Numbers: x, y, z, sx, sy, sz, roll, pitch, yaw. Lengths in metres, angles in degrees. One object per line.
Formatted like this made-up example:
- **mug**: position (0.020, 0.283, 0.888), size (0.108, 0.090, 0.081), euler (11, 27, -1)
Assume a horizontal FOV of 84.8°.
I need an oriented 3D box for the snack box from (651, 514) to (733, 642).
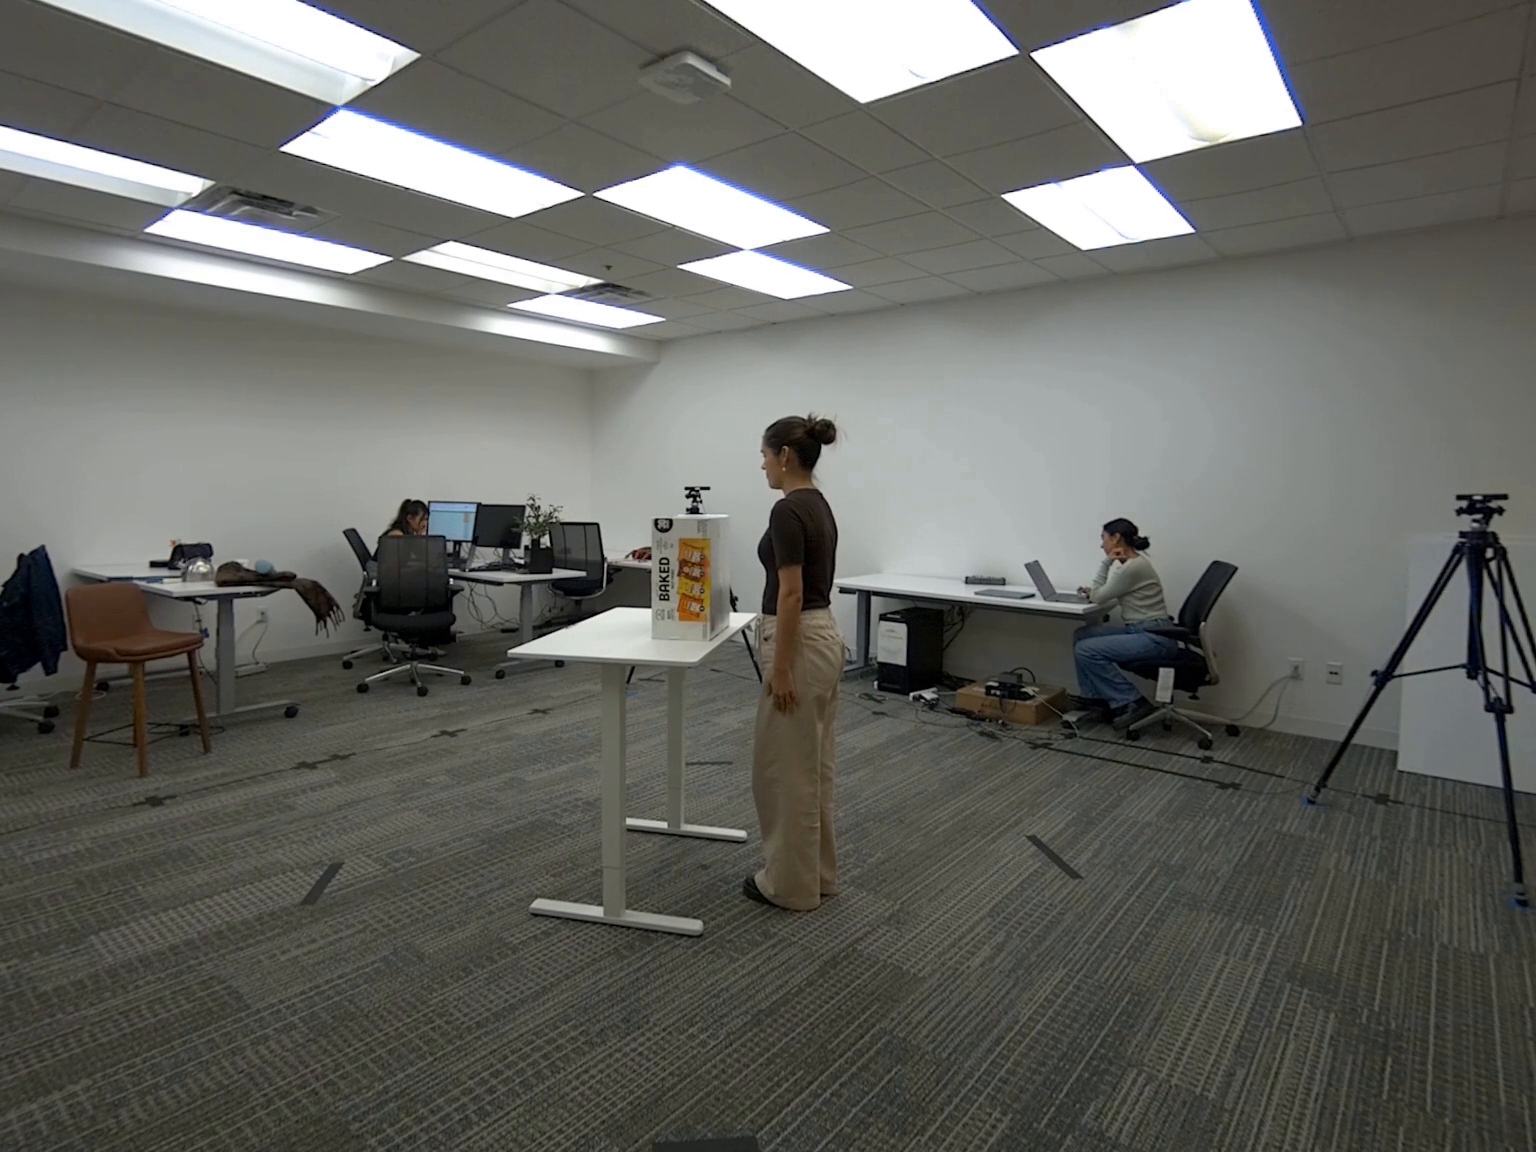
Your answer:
- **snack box**: position (-0.270, -0.009, 2.978), size (0.208, 0.404, 0.337), euler (1, 4, 10)
